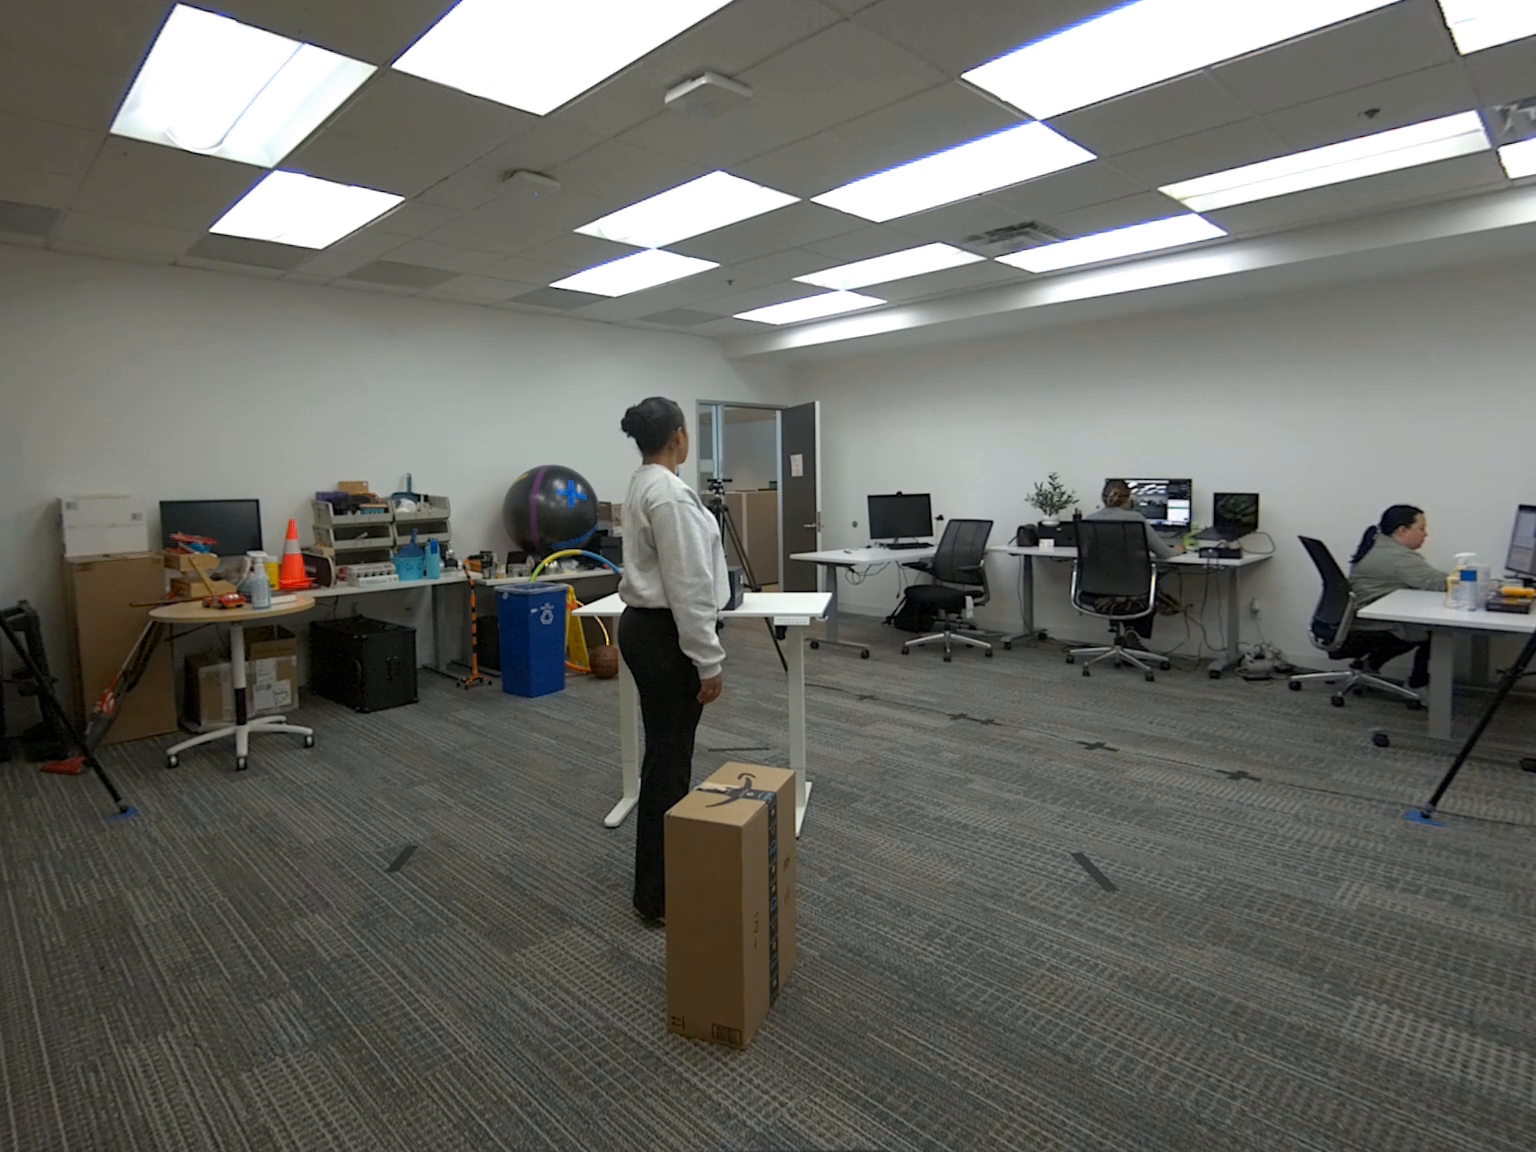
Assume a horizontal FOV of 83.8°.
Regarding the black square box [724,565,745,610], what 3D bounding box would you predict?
[{"bbox_3d":[-0.231,0.043,3.462,0.230,0.155,0.215,-1,3,11],"label":"black square box"}]
